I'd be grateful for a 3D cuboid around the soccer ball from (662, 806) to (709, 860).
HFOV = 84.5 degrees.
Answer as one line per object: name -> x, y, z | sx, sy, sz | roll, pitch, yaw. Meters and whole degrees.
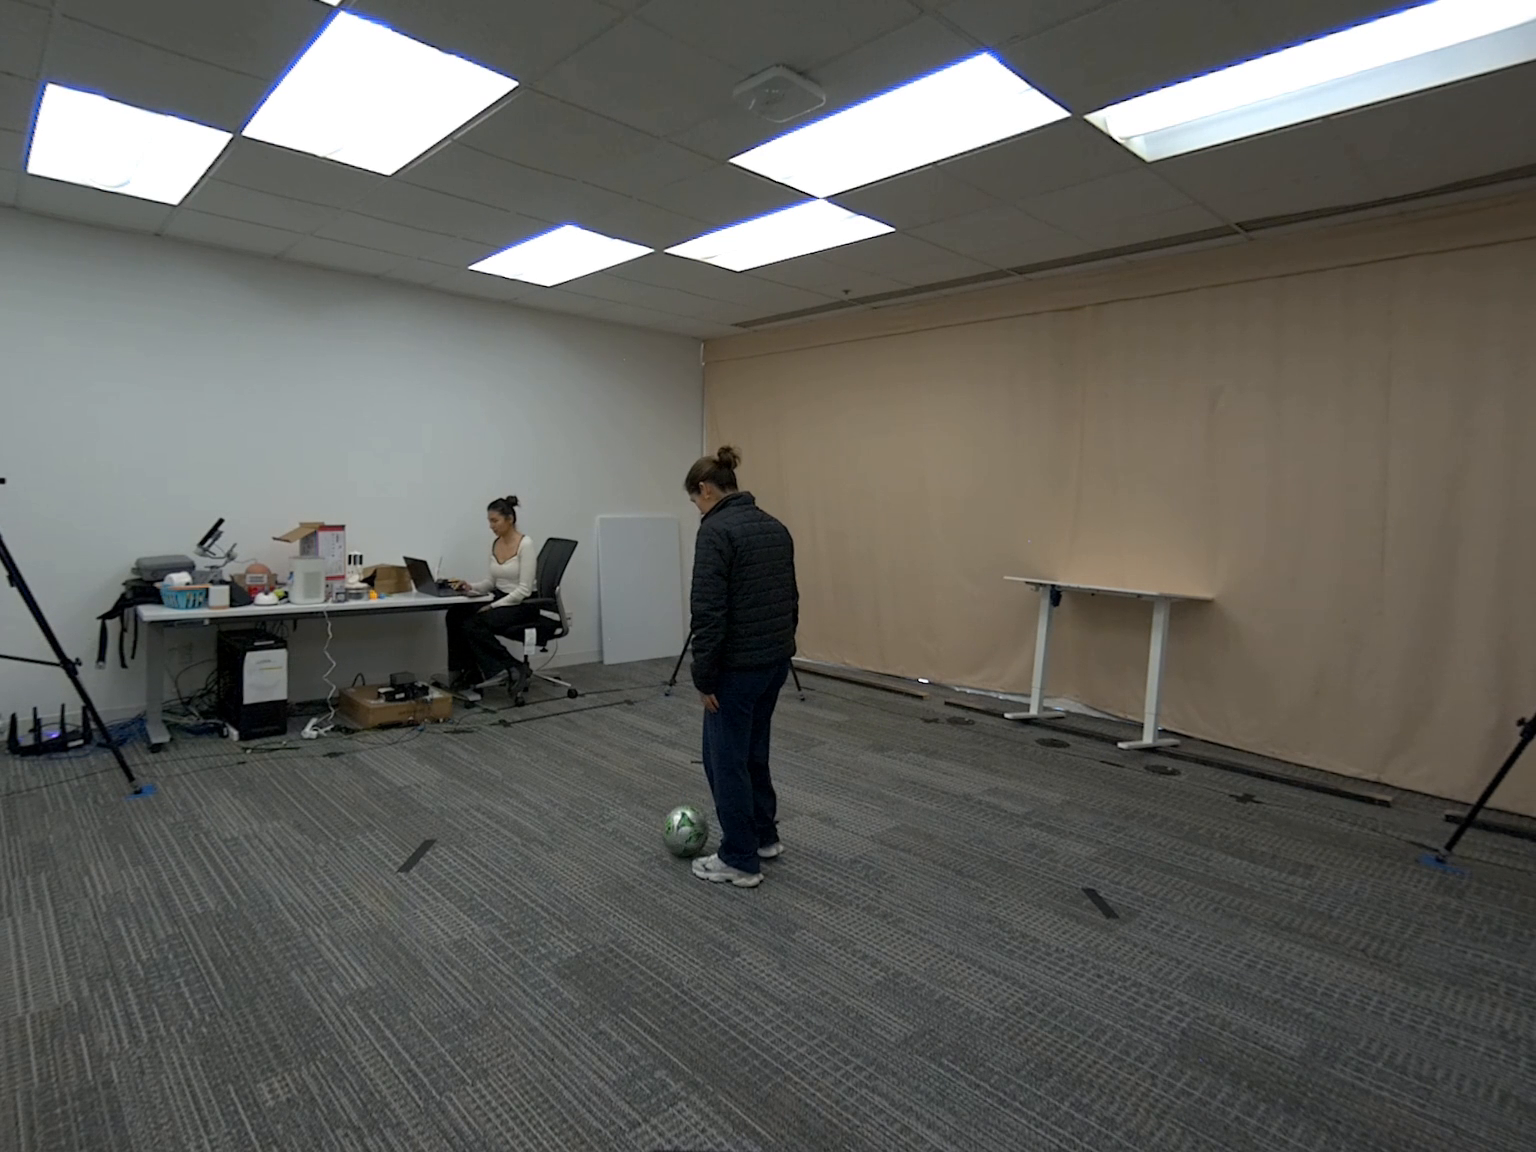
soccer ball -> -0.322, 0.986, 3.277 | 0.187, 0.187, 0.188 | 1, 4, -1
